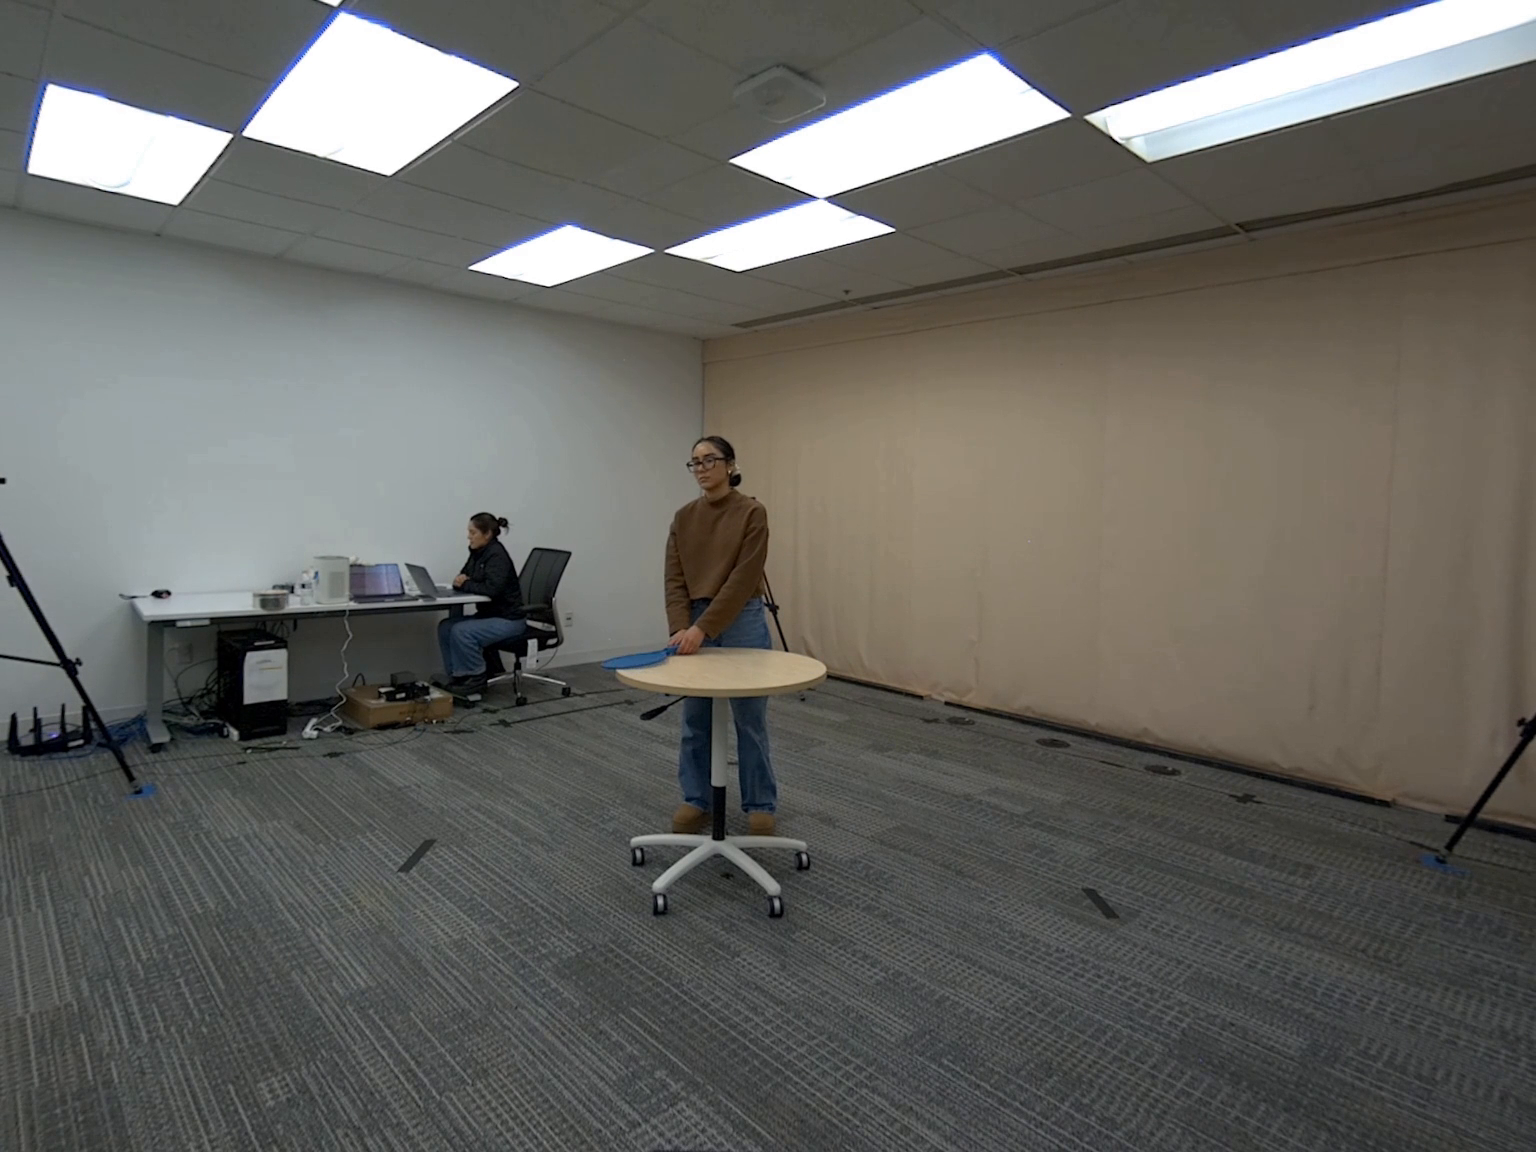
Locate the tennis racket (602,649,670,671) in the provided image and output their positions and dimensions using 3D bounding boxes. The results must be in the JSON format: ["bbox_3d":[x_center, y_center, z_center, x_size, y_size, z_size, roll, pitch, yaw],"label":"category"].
[{"bbox_3d":[-0.472,0.306,3.146,0.218,0.031,0.425,1,7,34],"label":"tennis racket"}]
